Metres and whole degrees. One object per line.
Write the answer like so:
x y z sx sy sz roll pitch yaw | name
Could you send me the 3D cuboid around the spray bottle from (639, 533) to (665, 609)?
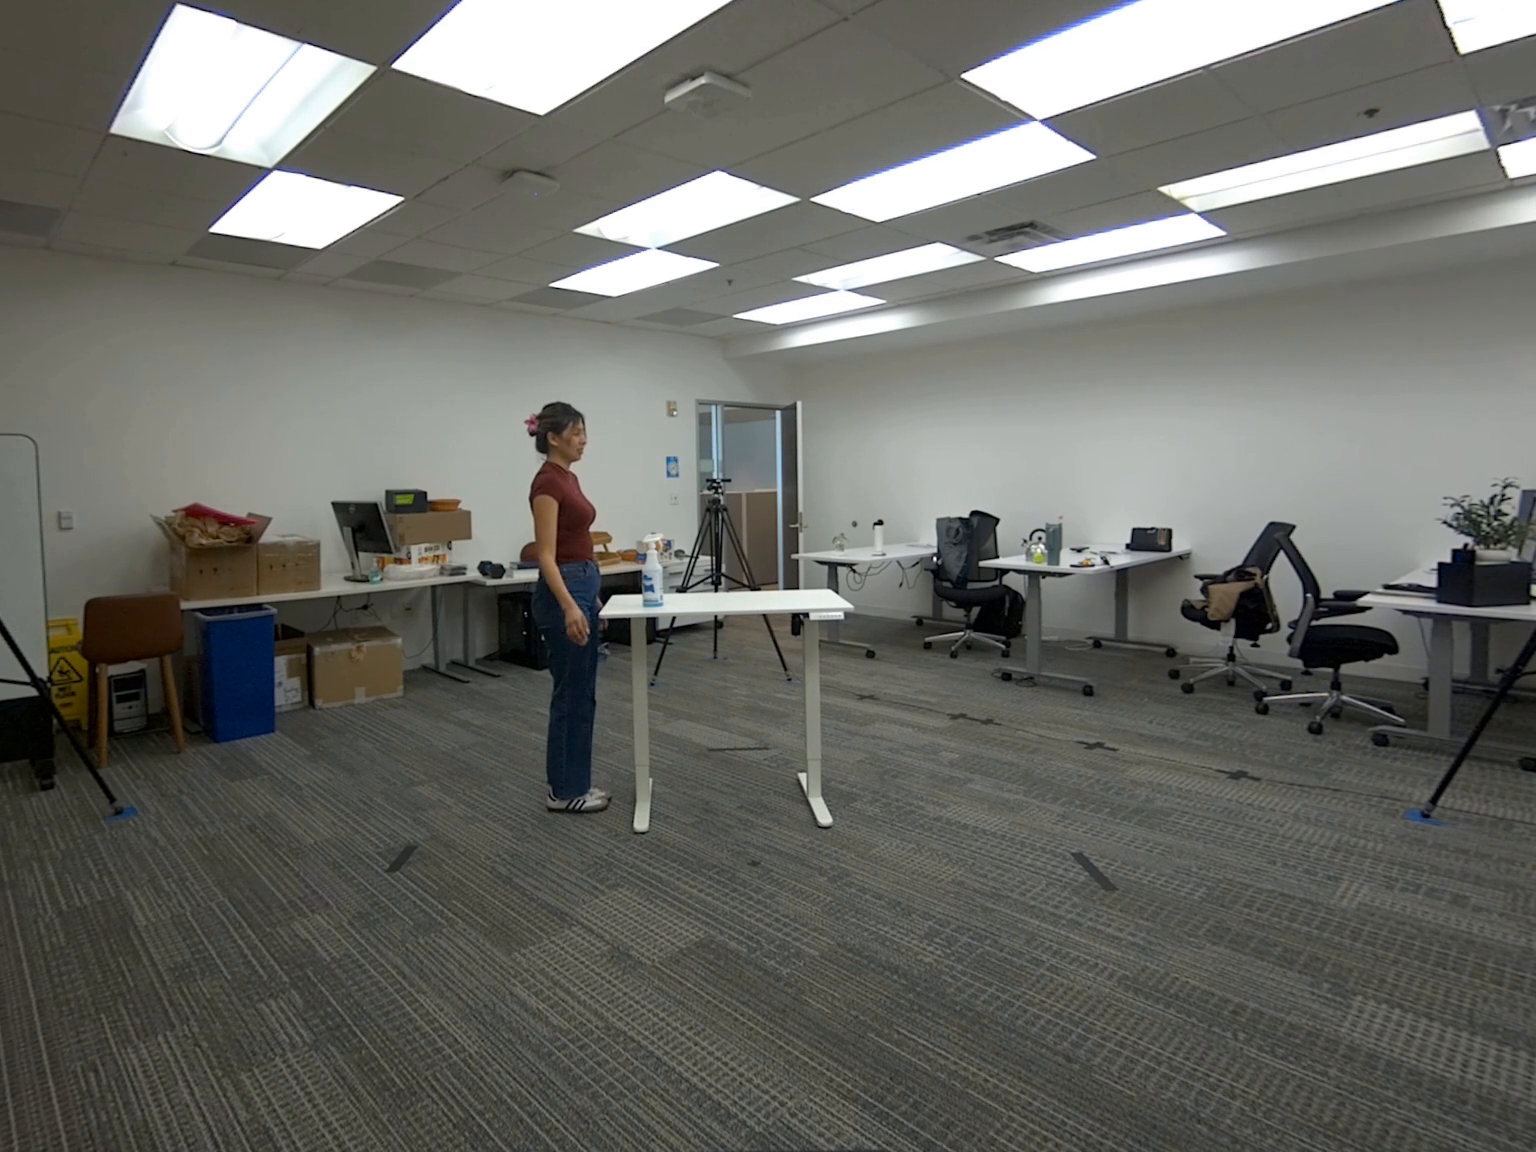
-0.478 -0.023 3.525 0.090 0.297 0.087 2 2 -5 | spray bottle
